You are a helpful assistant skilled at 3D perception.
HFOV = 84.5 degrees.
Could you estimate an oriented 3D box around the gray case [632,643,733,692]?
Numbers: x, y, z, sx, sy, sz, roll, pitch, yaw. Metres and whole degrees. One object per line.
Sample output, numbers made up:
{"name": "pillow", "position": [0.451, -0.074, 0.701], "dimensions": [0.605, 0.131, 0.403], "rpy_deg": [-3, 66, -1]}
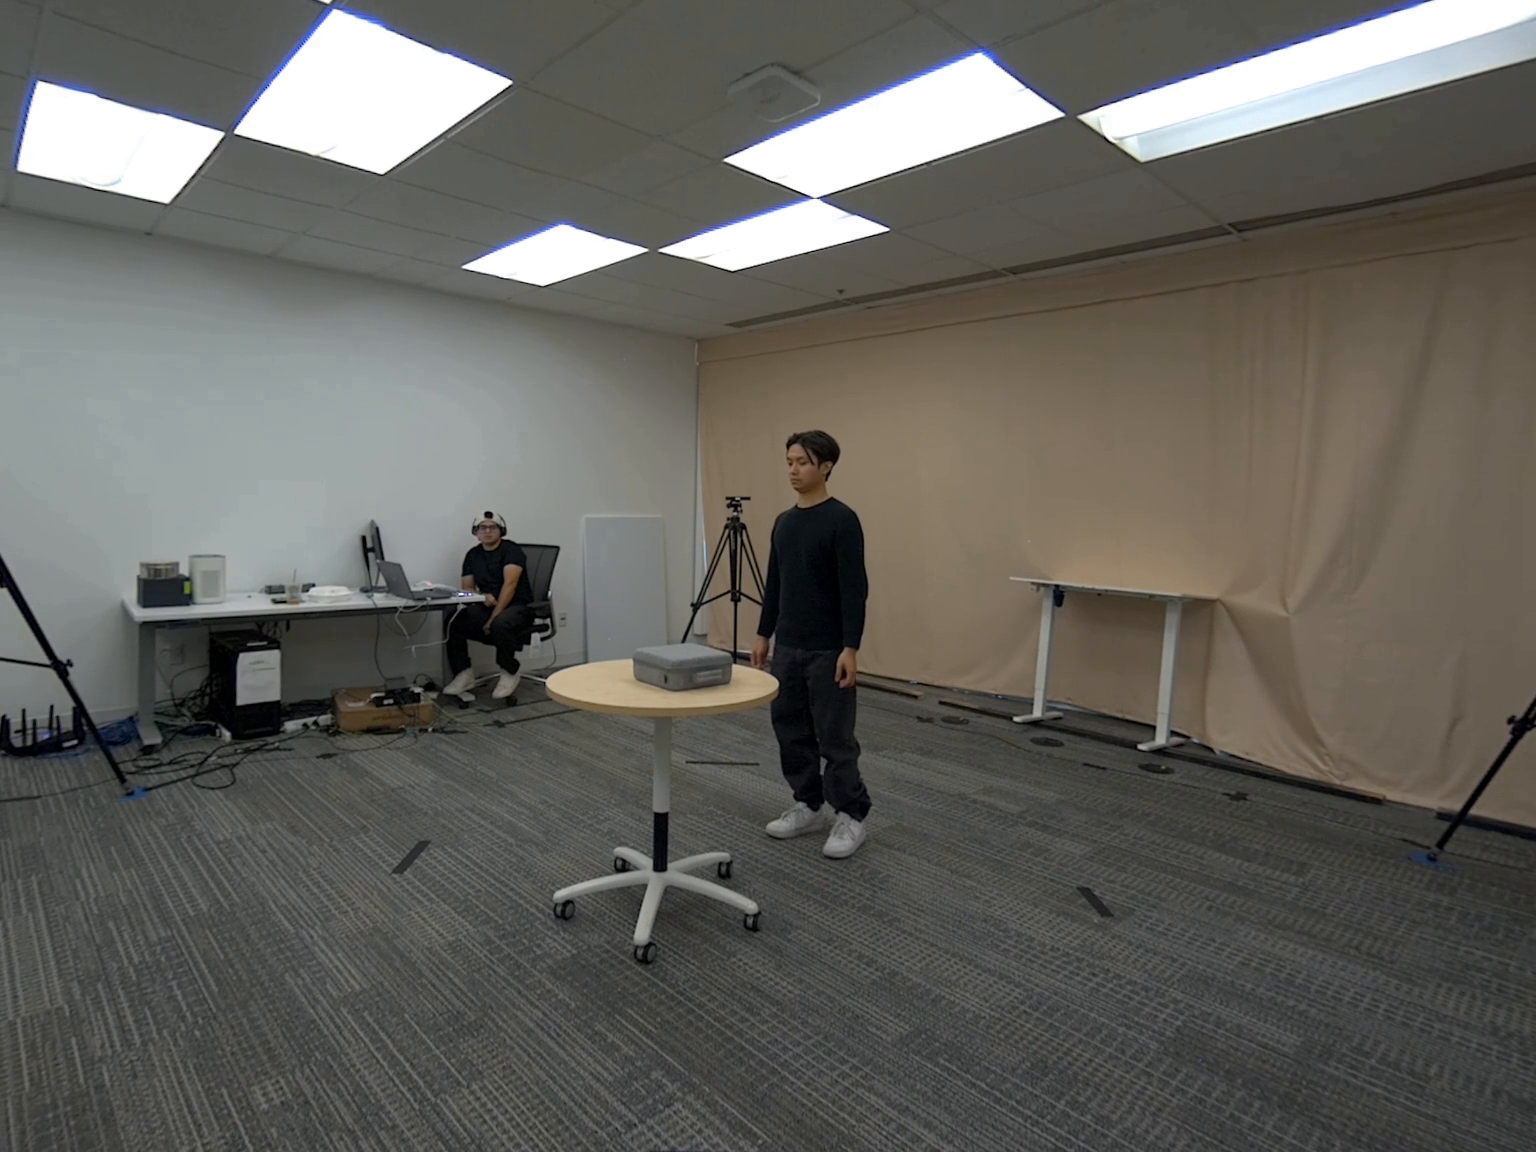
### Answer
{"name": "gray case", "position": [-0.281, 0.295, 2.776], "dimensions": [0.251, 0.104, 0.267], "rpy_deg": [-2, 6, -41]}
